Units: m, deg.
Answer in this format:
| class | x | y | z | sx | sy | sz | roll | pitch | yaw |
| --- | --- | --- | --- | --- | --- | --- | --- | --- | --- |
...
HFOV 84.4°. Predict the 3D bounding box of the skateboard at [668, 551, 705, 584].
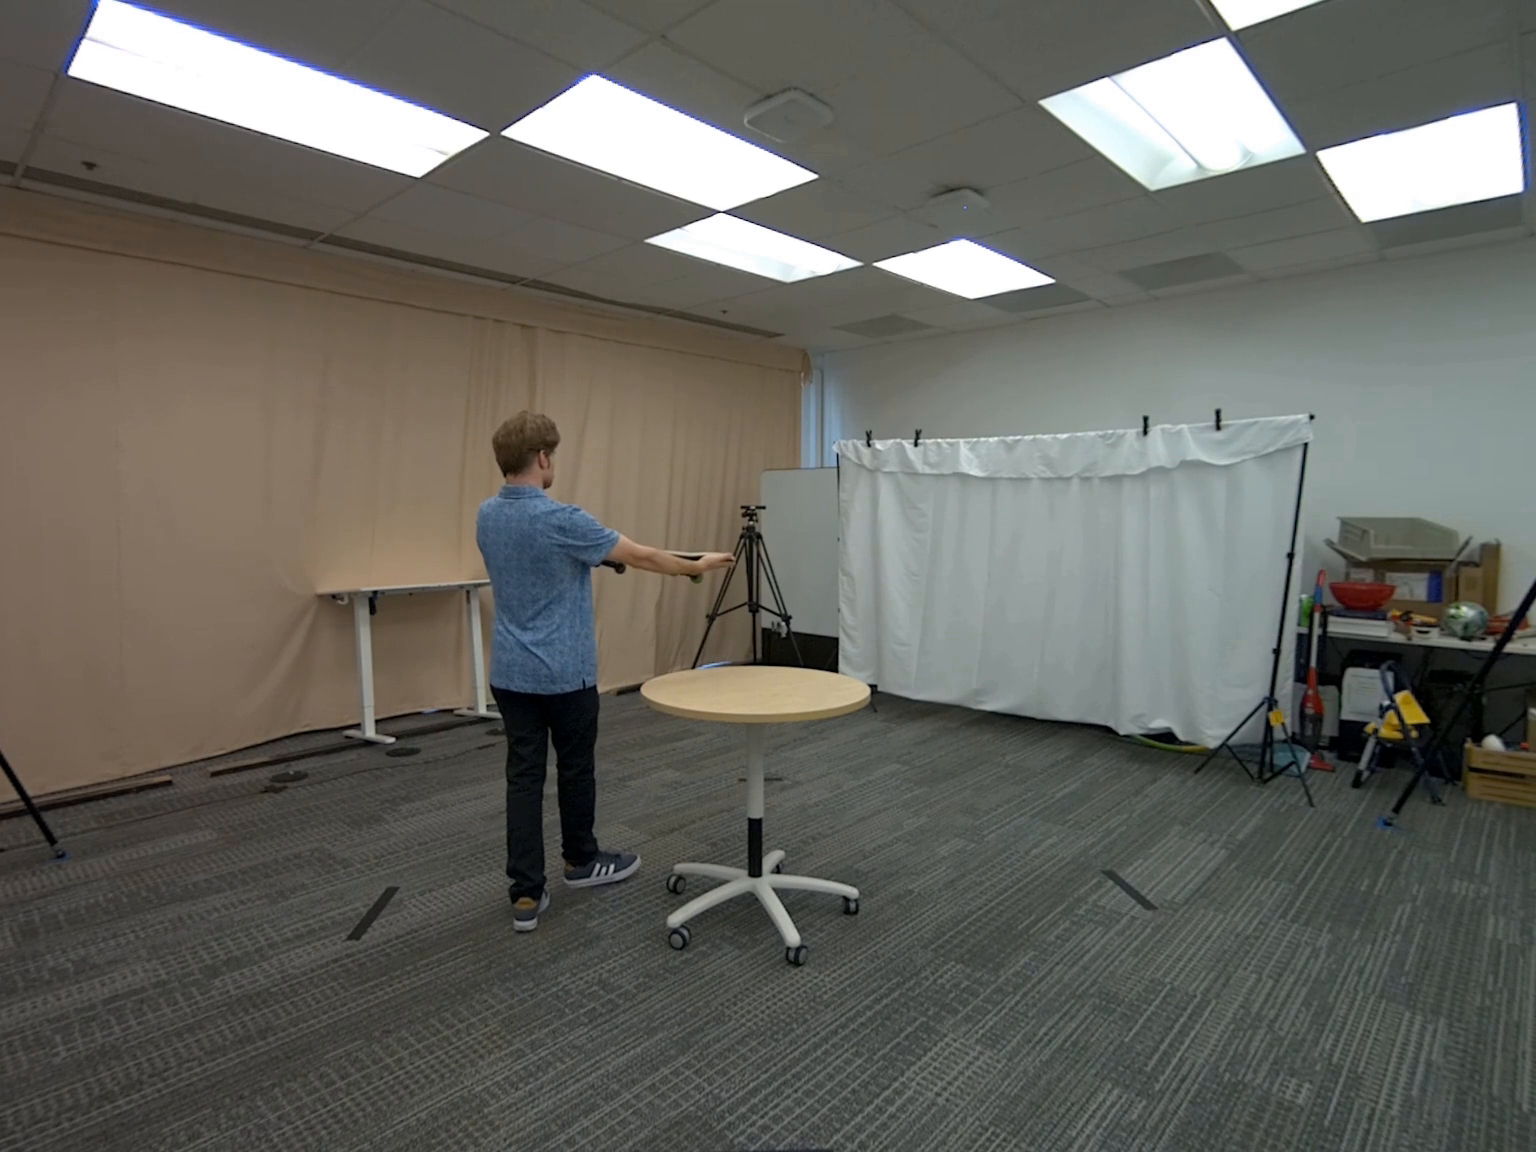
| class | x | y | z | sx | sy | sz | roll | pitch | yaw |
| --- | --- | --- | --- | --- | --- | --- | --- | --- | --- |
| skateboard | -0.481 | -0.057 | 3.328 | 0.808 | 0.111 | 0.187 | 5 | -9 | 29 |
